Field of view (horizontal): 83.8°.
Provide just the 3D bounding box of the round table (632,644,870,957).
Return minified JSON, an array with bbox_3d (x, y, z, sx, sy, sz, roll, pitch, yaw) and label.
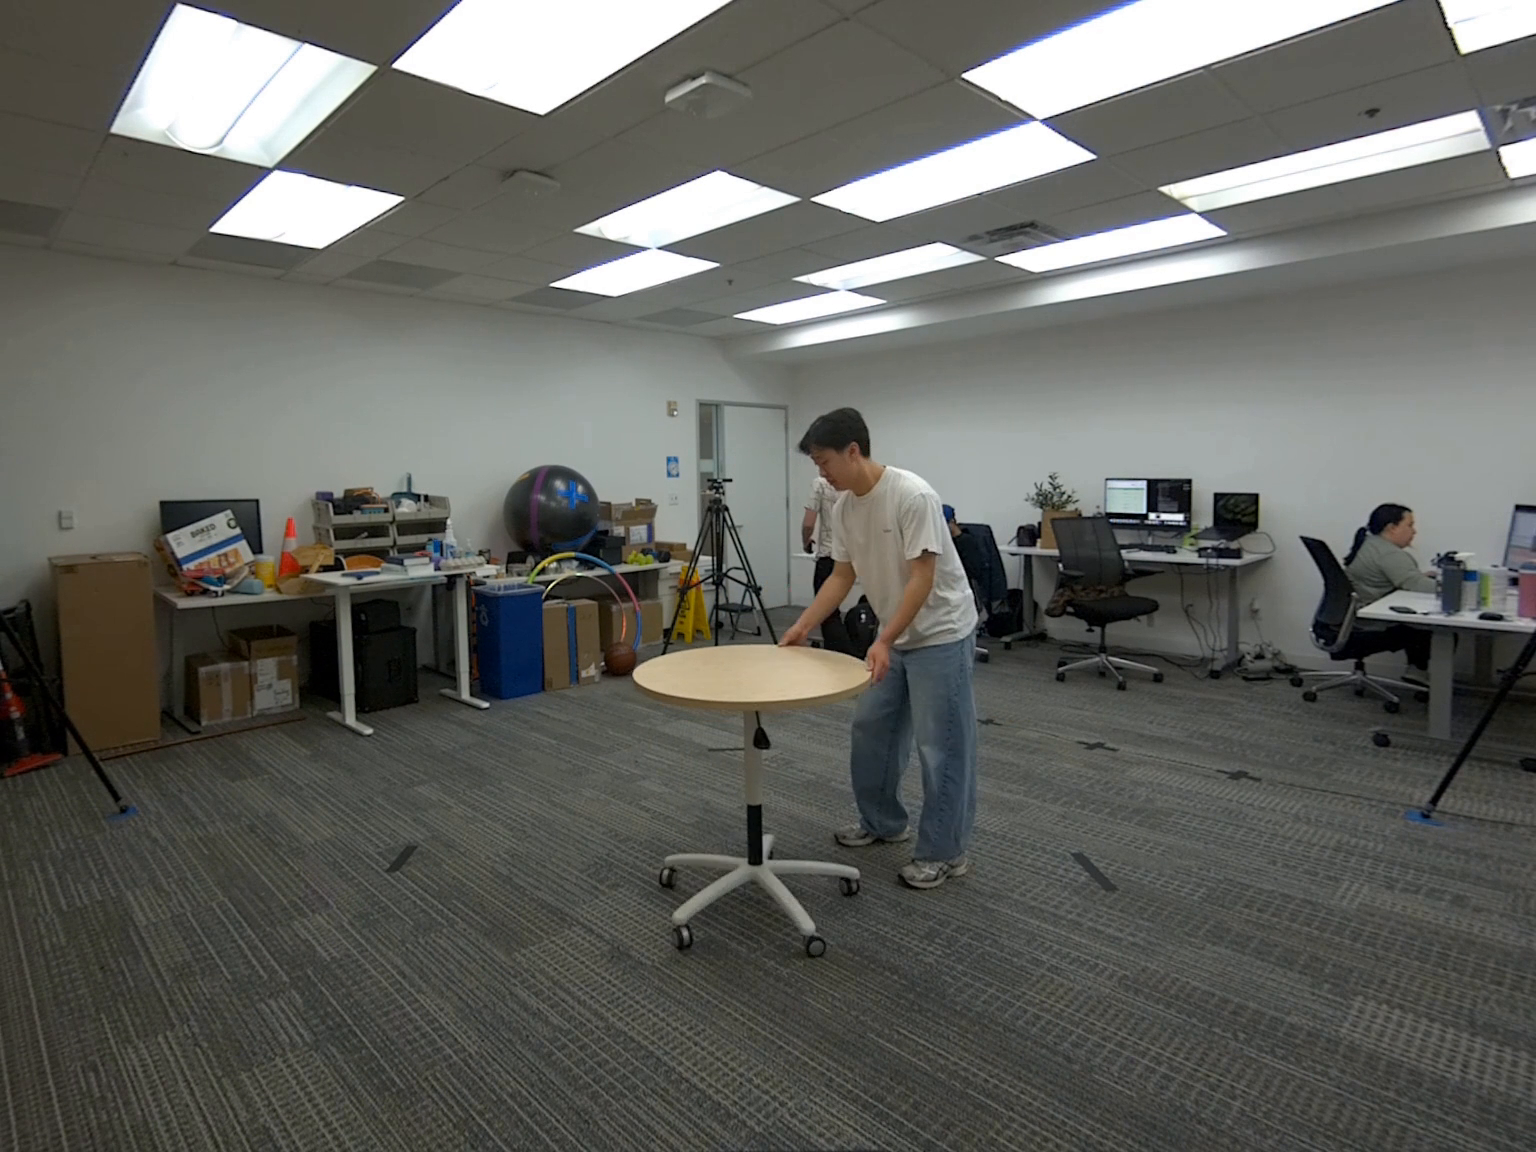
[{"bbox_3d":[-0.052,0.689,2.776,0.784,0.783,0.789,-1,5,-2],"label":"round table"}]
